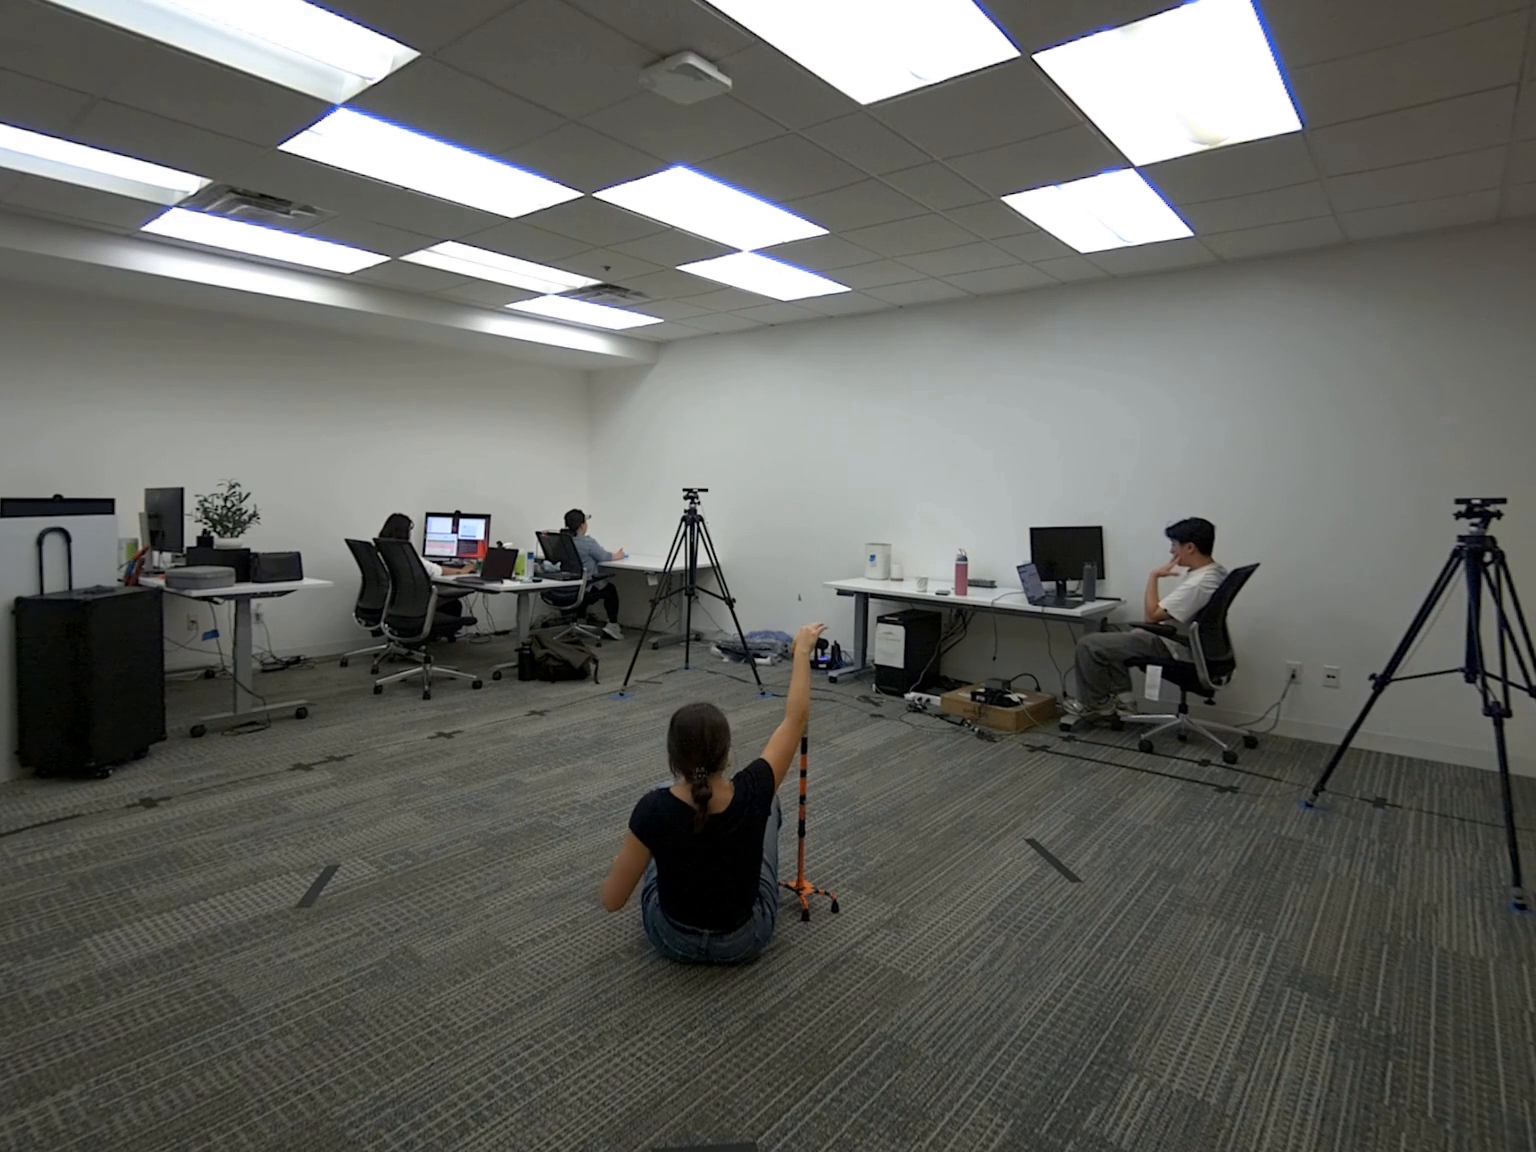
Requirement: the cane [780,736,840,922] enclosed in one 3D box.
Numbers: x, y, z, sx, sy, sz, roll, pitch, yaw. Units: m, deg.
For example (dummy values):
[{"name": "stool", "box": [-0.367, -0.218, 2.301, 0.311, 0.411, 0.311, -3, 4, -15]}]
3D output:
[{"name": "cane", "box": [0.138, 0.640, 2.840, 0.147, 0.906, 0.213, -1, 3, -34]}]
